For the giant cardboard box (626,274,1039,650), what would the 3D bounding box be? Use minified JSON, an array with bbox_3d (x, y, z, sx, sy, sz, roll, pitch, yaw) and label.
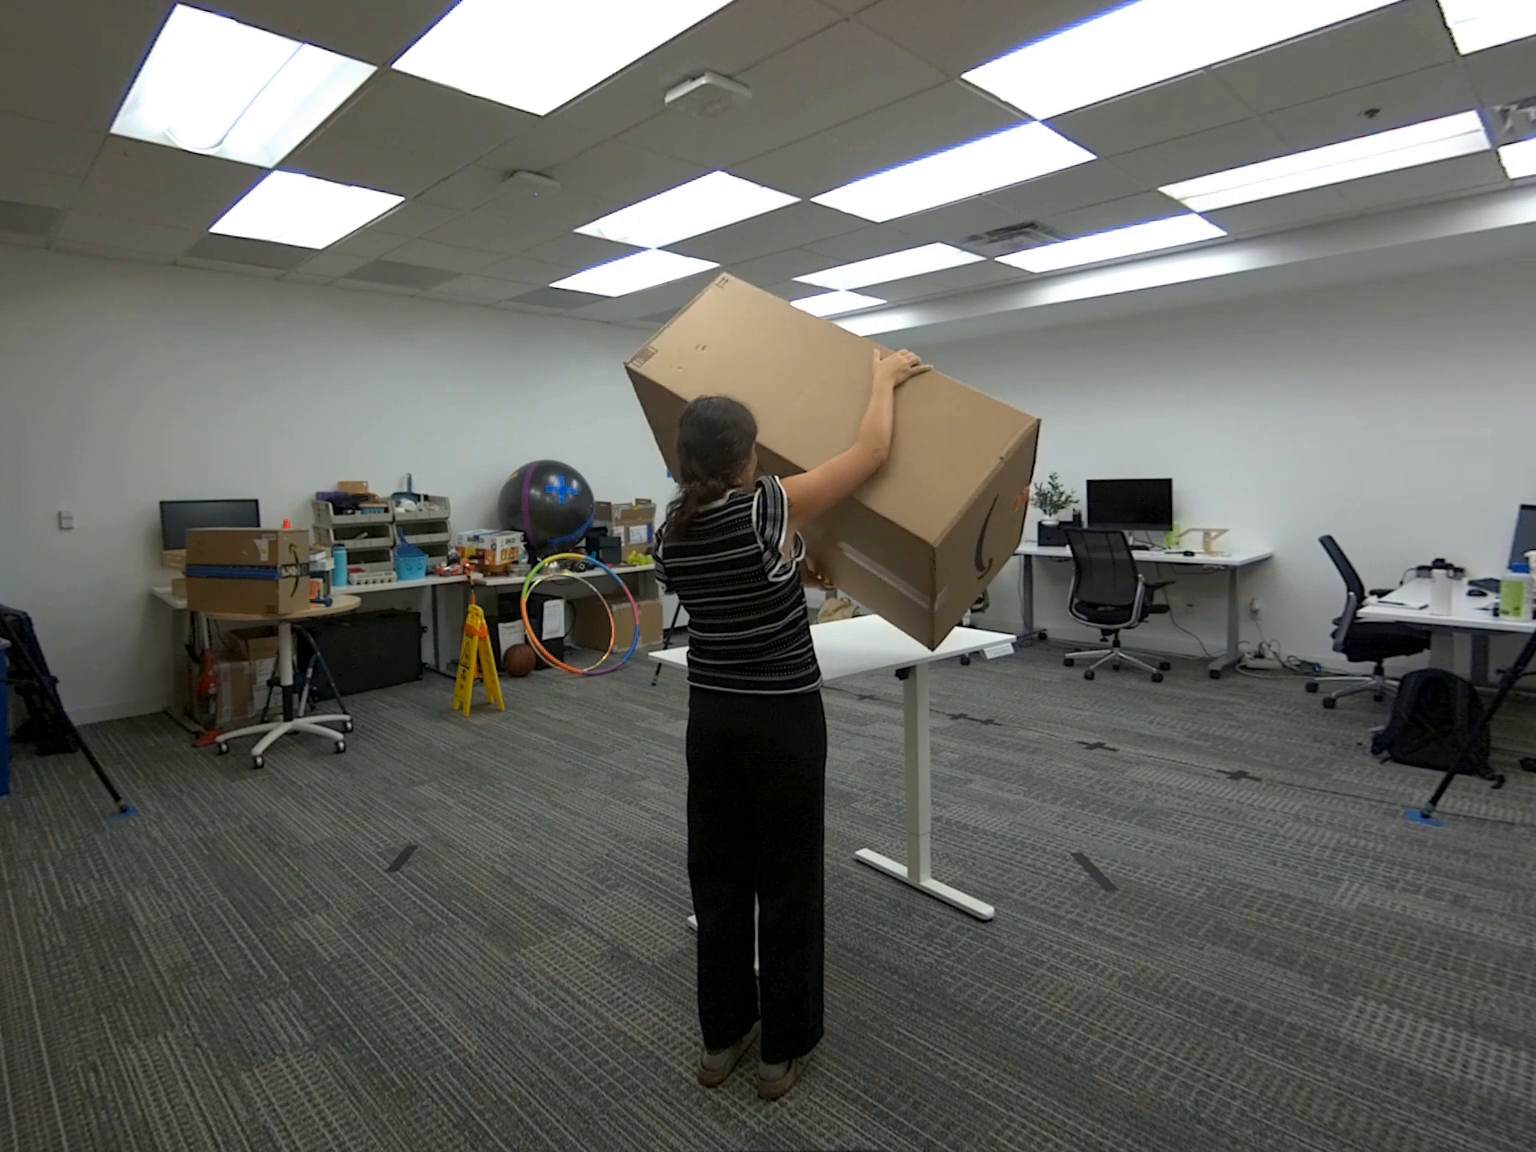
[{"bbox_3d":[0.170,-0.336,2.405,1.060,0.426,0.559,34,-19,28],"label":"giant cardboard box"}]
